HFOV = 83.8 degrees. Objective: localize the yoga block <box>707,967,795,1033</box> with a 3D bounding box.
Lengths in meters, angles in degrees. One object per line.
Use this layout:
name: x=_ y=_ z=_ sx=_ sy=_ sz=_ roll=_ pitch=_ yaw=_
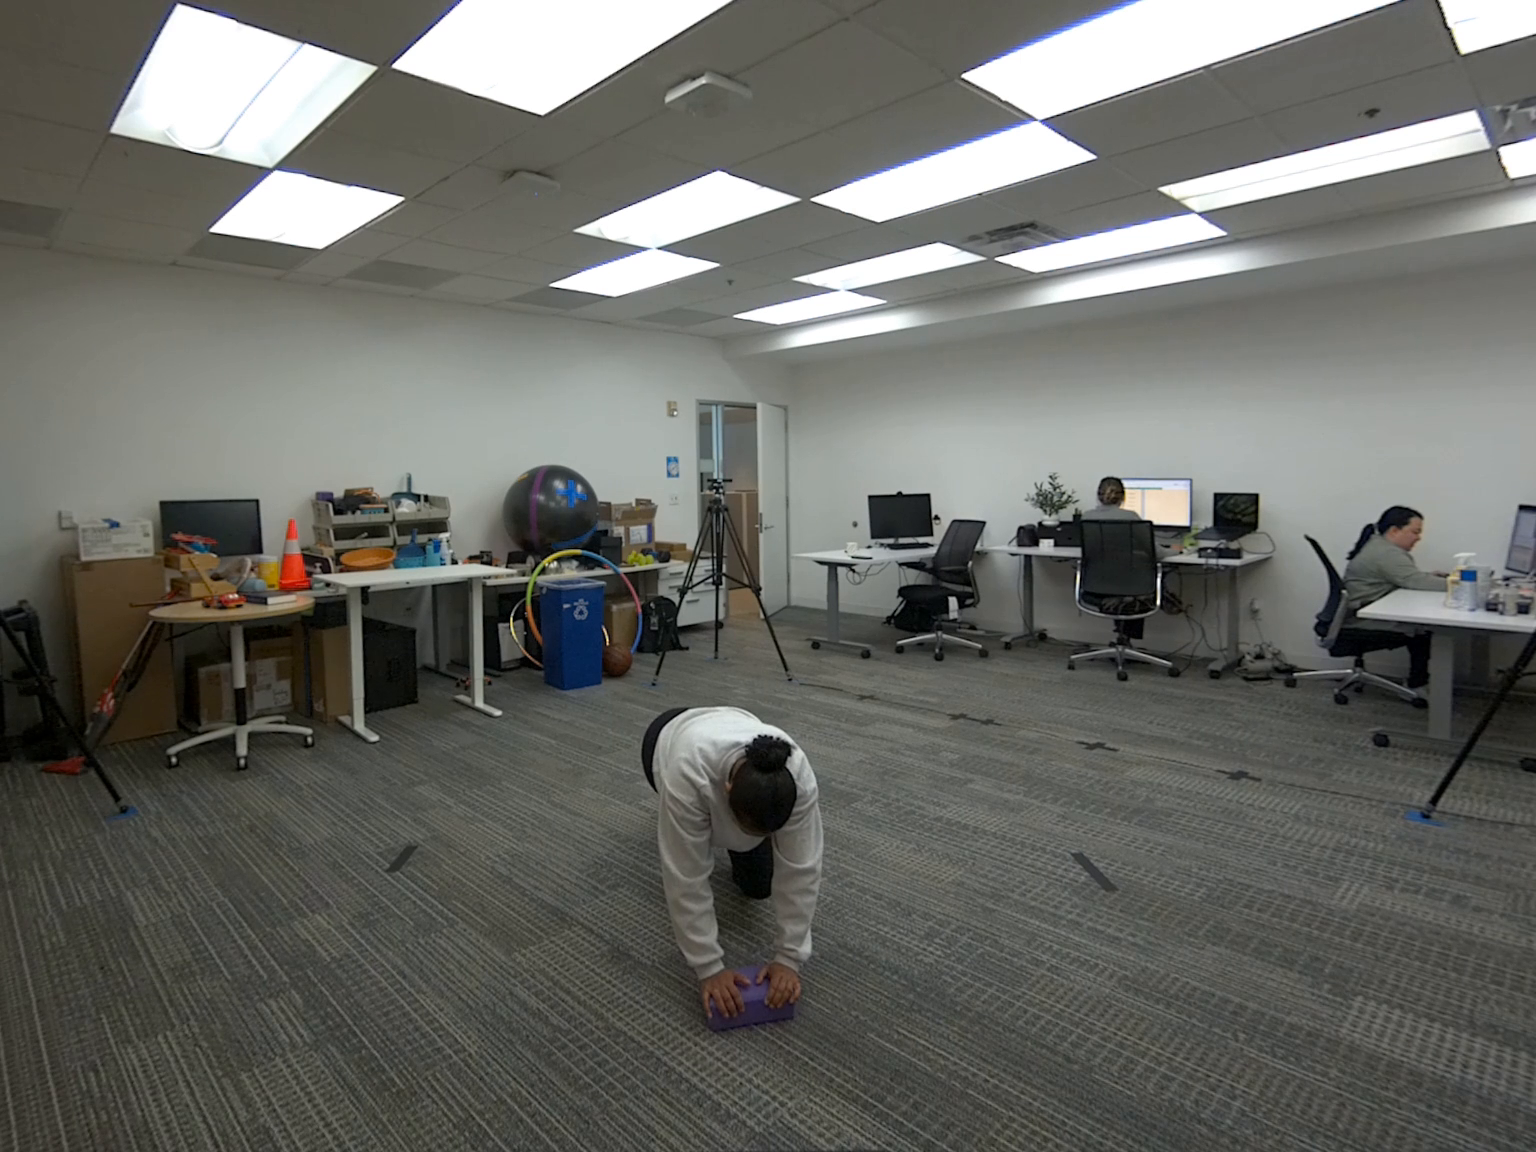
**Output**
yoga block: x=-0.045 y=1.123 z=2.251 sx=0.226 sy=0.076 sz=0.152 roll=-2 pitch=9 yaw=-13
